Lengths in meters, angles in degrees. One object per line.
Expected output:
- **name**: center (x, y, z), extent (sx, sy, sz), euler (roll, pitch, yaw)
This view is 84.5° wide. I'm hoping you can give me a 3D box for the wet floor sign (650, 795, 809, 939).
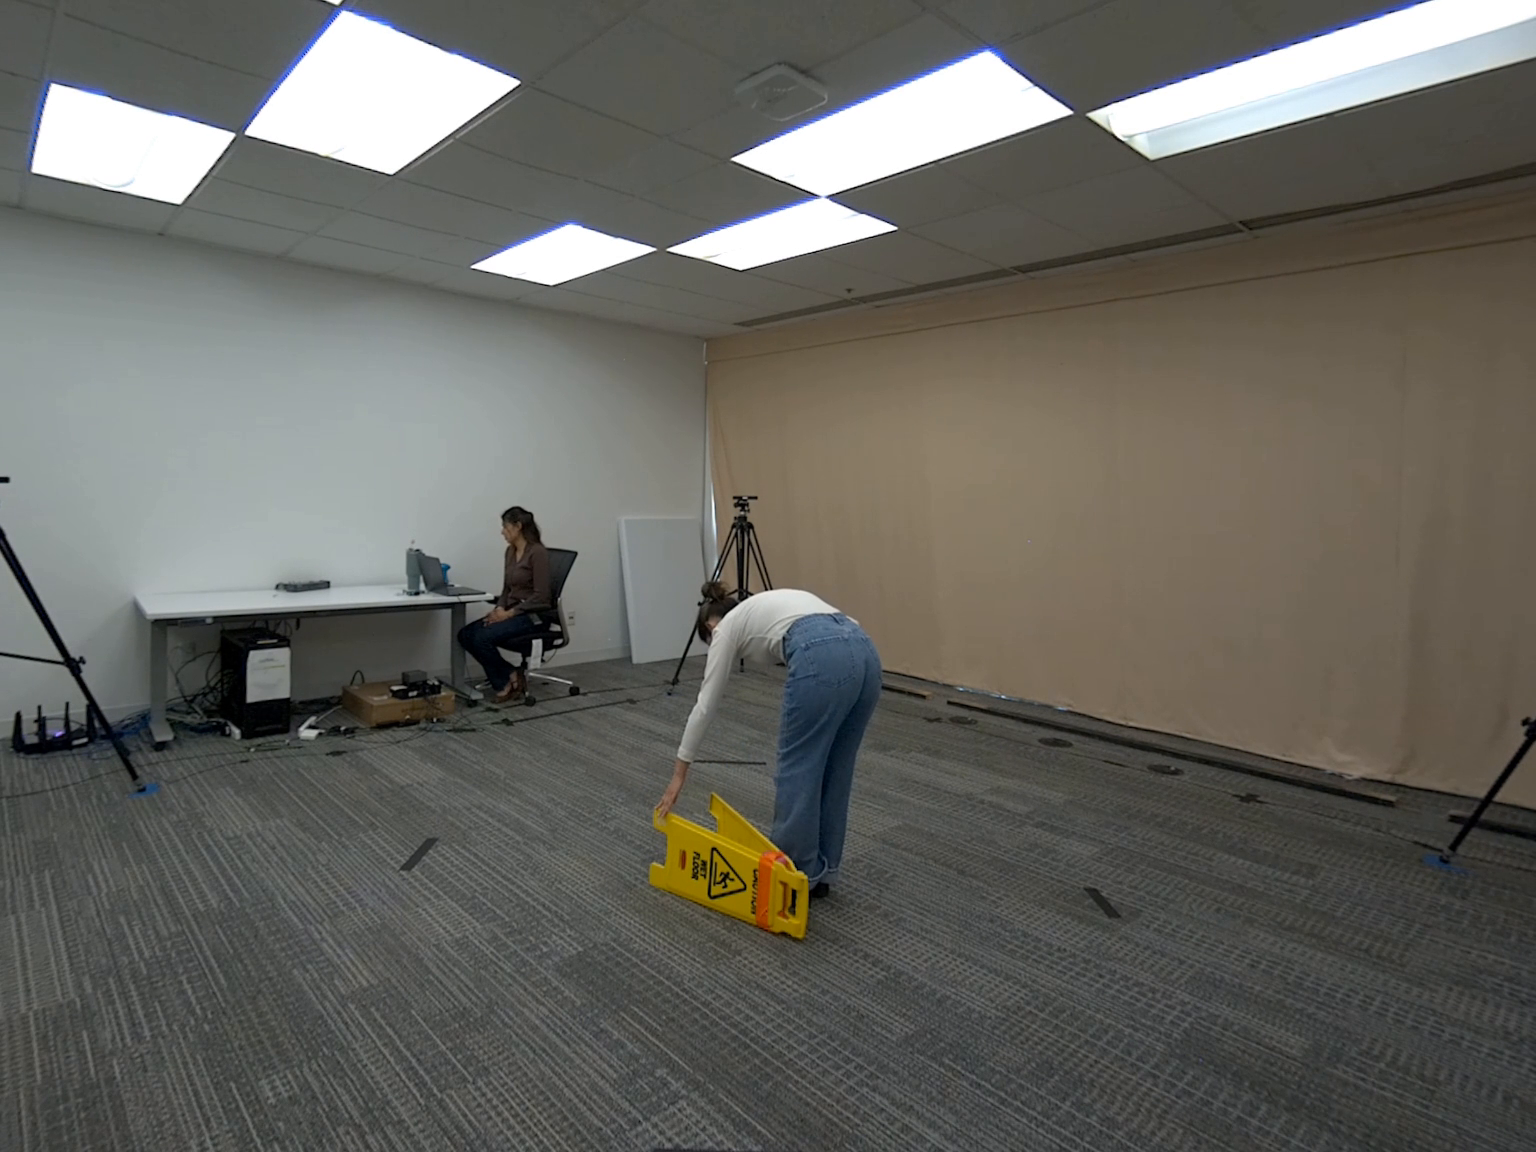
- **wet floor sign**: center (-0.107, 0.998, 2.856), extent (0.283, 0.281, 0.663), euler (-1, 7, -41)
